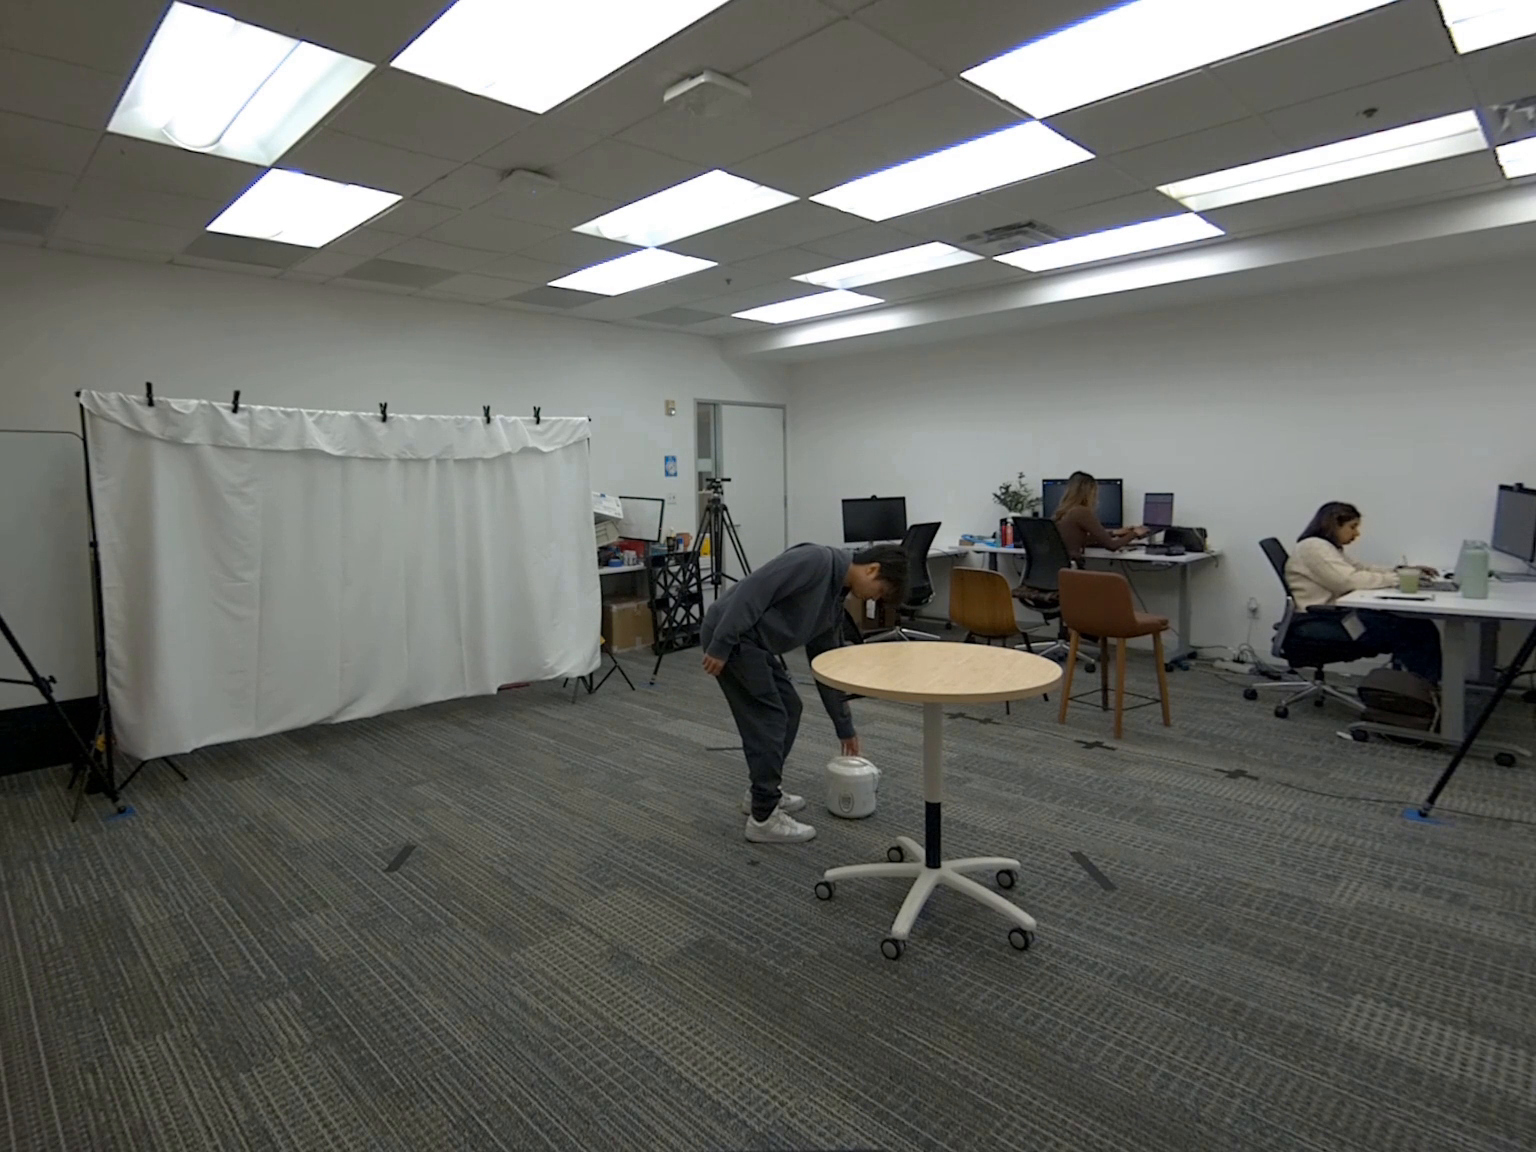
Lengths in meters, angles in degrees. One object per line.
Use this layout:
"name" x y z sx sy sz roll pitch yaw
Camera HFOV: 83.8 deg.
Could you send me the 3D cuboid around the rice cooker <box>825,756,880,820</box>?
"rice cooker" 0.349 0.864 3.558 0.225 0.232 0.214 1 5 19
